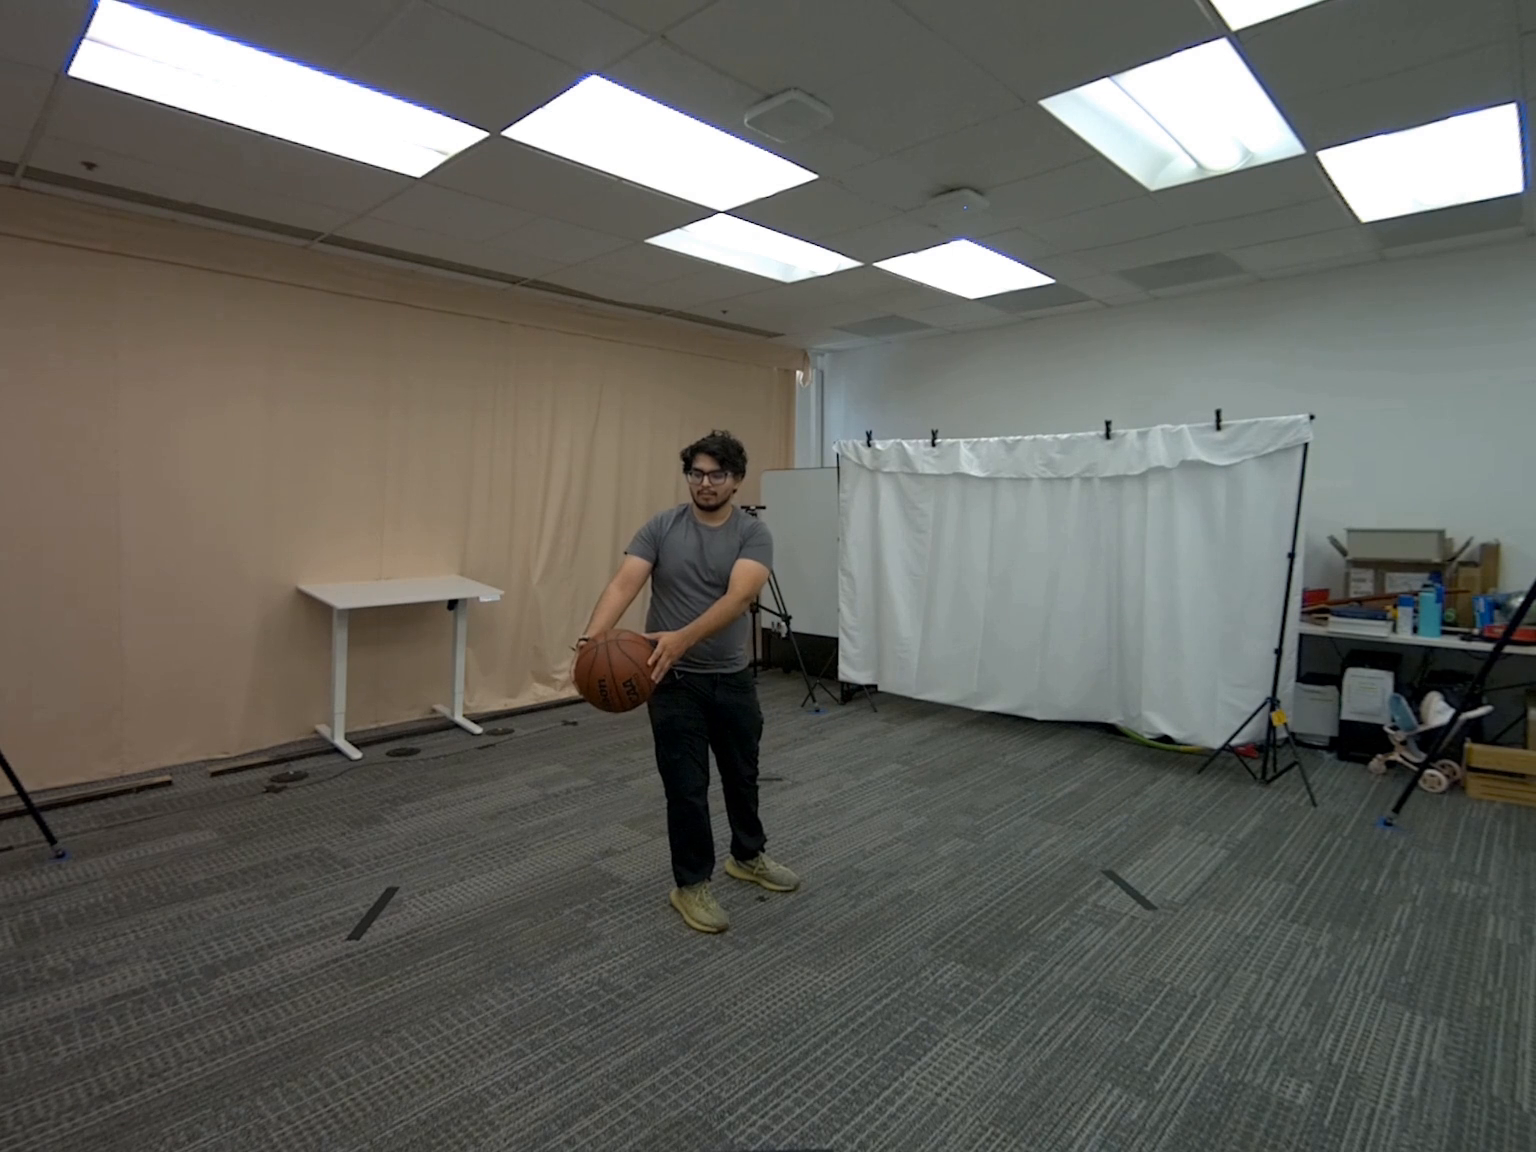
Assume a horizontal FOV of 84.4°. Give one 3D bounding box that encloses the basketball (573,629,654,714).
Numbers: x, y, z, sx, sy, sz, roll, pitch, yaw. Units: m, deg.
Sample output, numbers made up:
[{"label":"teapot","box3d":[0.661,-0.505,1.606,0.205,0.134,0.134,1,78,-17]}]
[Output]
[{"label":"basketball","box3d":[-0.427,0.273,2.416,0.236,0.235,0.237,0,4,-2]}]
